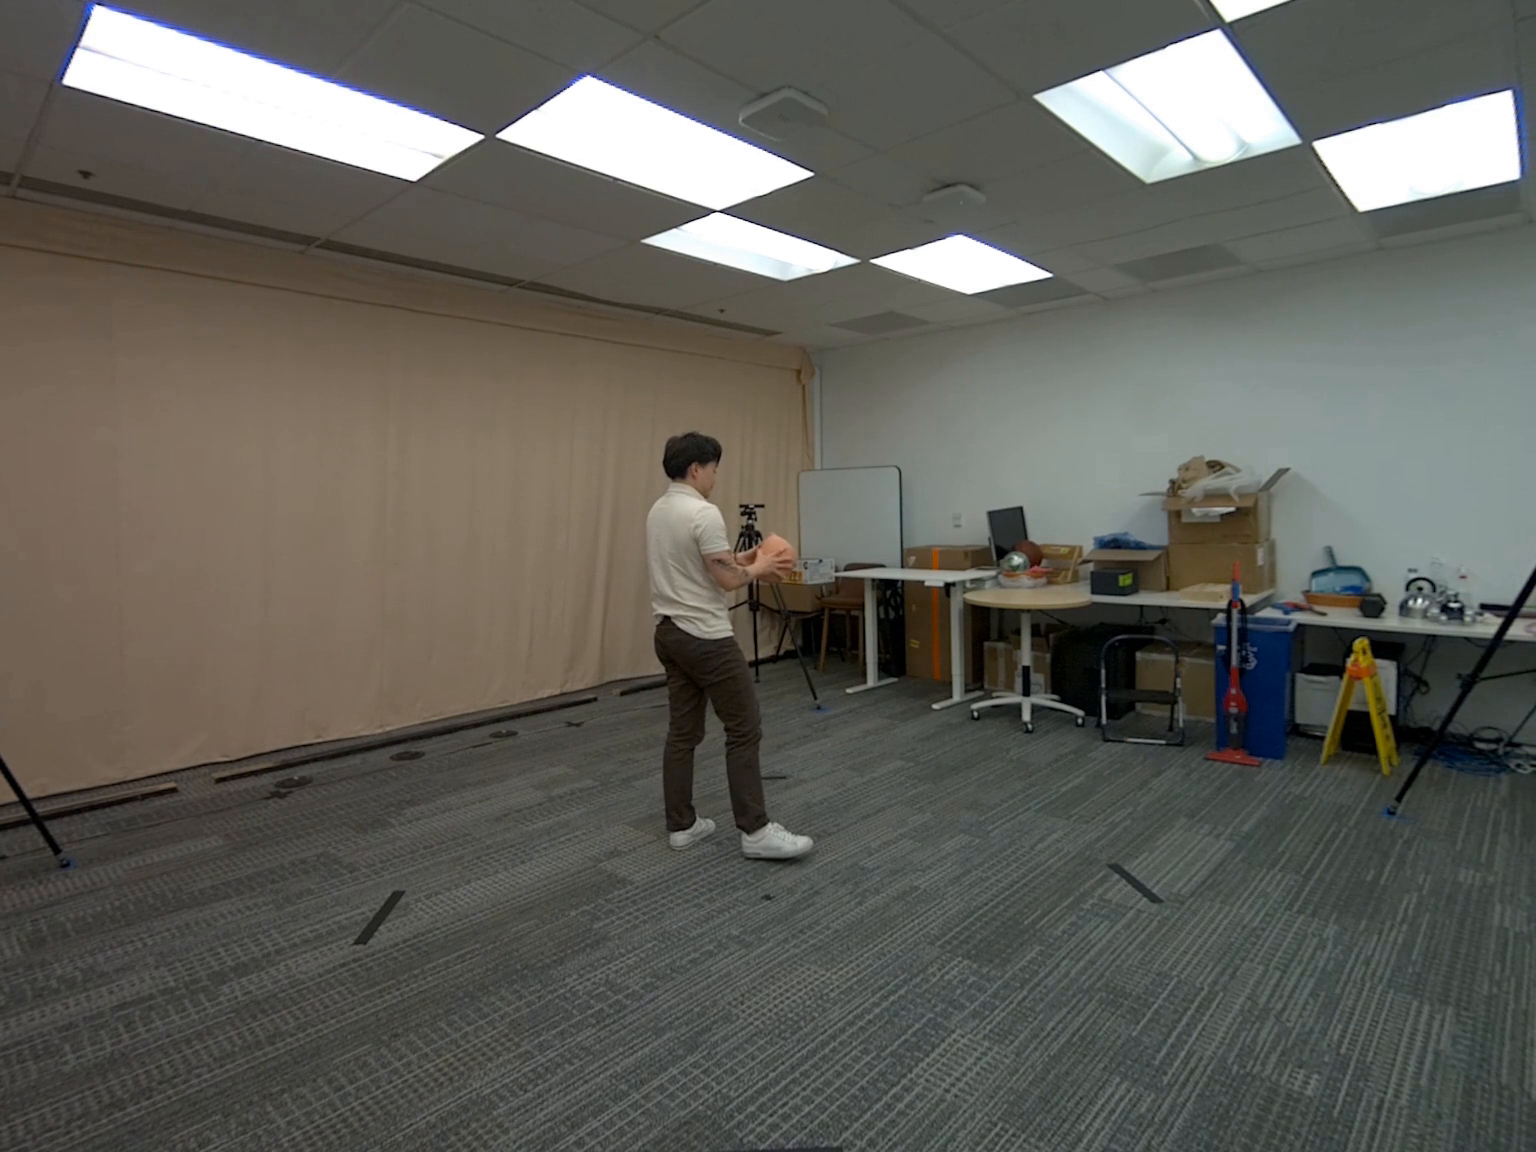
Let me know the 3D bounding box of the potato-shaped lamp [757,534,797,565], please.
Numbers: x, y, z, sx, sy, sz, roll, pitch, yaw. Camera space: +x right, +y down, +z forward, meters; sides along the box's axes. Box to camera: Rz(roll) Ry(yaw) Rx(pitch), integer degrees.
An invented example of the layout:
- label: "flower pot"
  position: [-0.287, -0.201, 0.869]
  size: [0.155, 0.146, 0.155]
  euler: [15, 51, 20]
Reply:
- label: "potato-shaped lamp"
  position: [0.025, -0.067, 3.594]
  size: [0.176, 0.197, 0.161]
  euler: [33, -15, 21]
